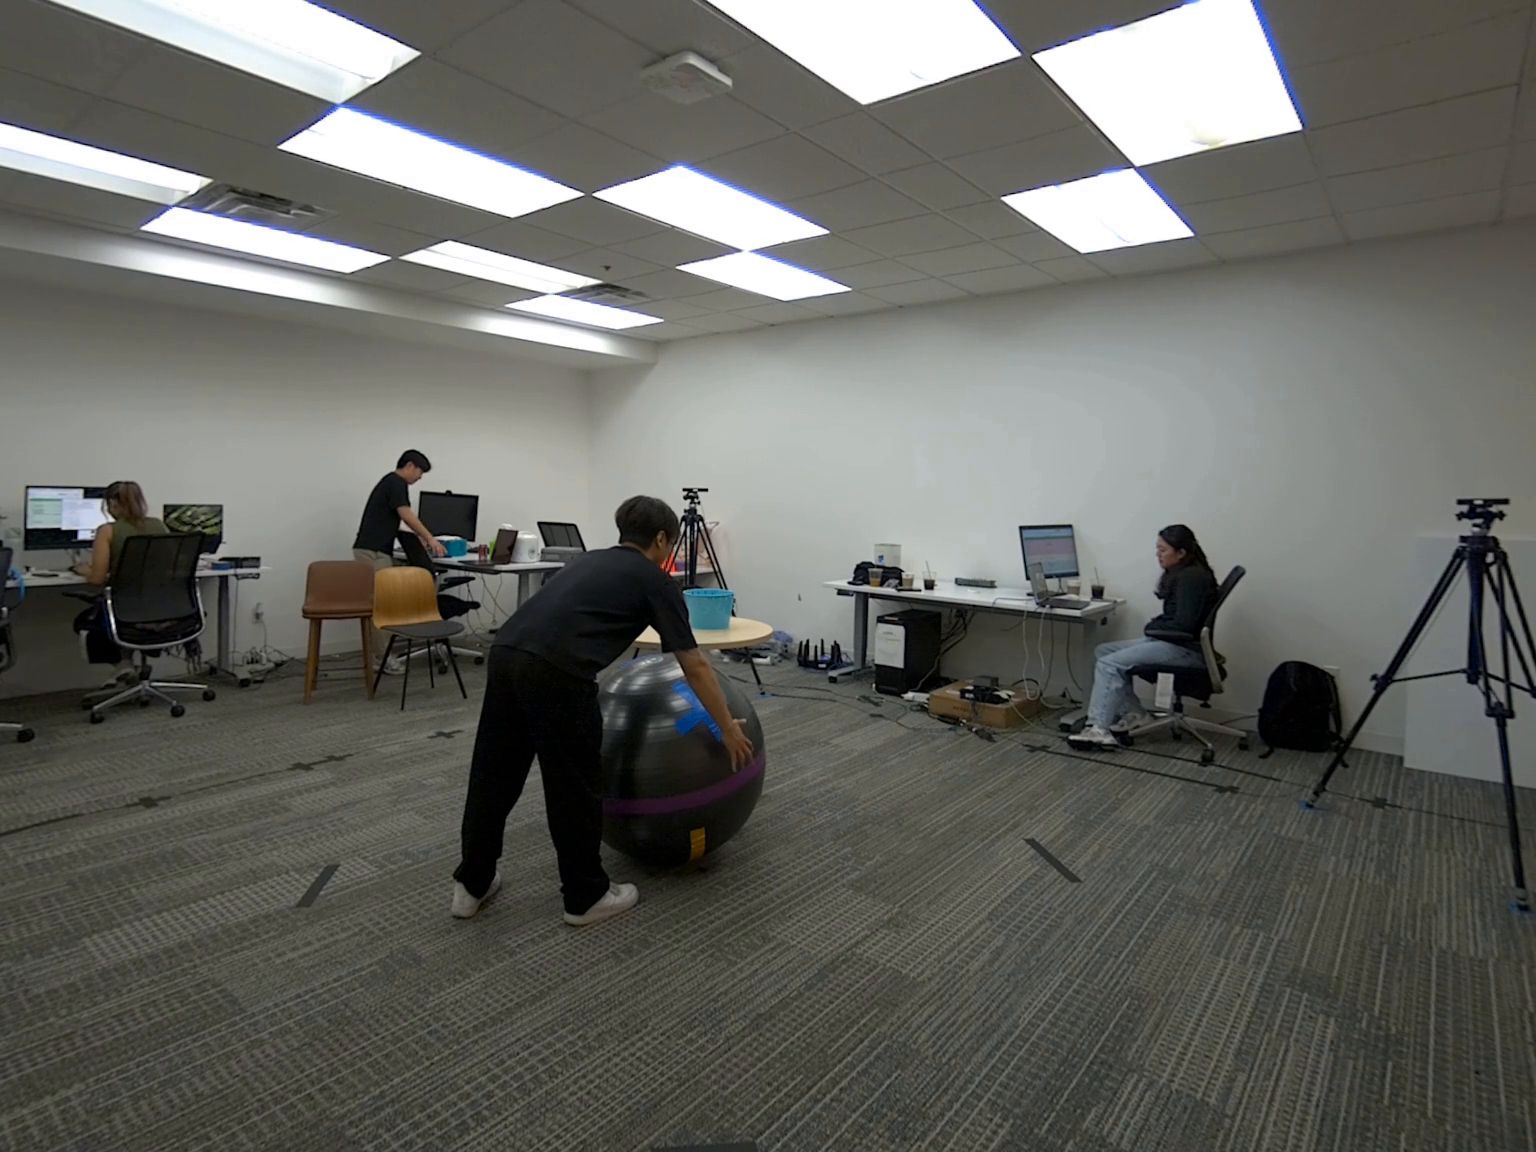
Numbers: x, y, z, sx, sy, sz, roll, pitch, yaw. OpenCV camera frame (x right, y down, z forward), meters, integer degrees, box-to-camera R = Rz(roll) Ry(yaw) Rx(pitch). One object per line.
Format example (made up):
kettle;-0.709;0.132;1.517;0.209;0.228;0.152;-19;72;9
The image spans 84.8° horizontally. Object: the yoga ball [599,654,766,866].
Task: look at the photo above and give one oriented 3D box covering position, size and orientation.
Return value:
yoga ball;-0.395;0.686;3.211;0.757;0.755;0.762;1;4;-2
